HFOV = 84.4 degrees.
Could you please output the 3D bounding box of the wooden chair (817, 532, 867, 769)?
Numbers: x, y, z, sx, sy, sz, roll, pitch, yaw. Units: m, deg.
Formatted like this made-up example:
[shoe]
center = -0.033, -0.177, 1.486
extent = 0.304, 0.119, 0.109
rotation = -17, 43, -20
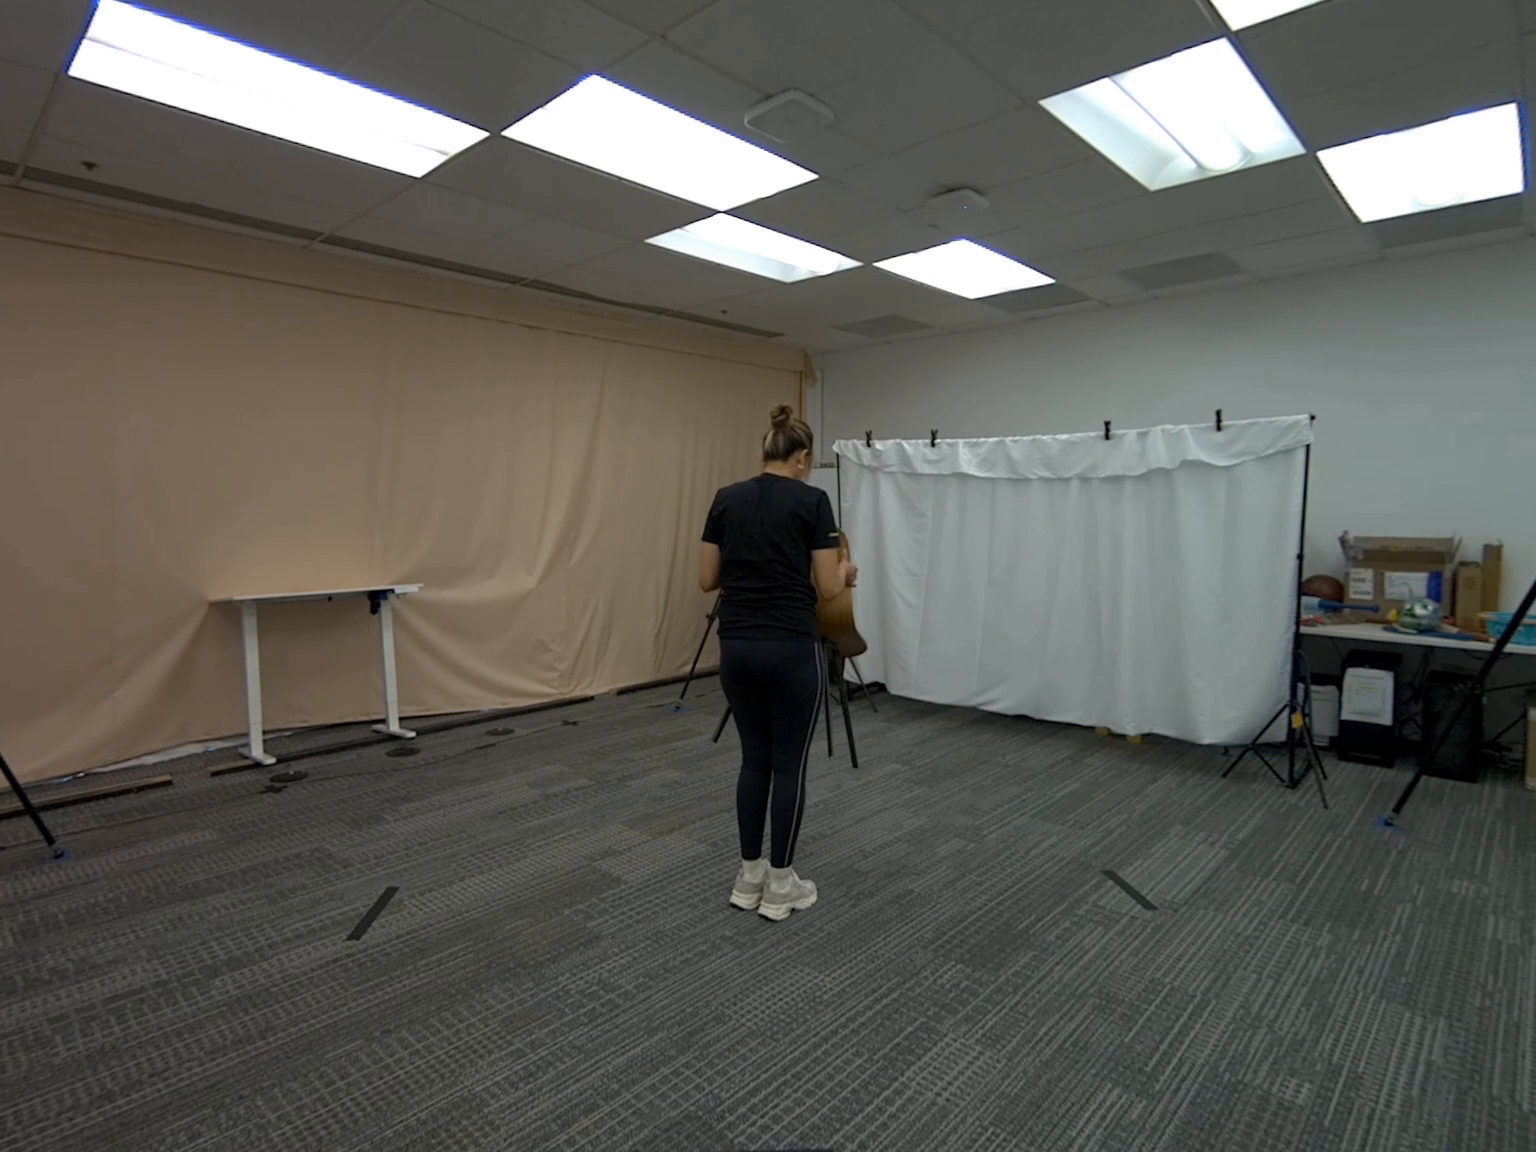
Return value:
[wooden chair]
center = 0.133, 0.272, 3.264
extent = 0.488, 0.883, 0.508
rotation = 1, -14, 20
